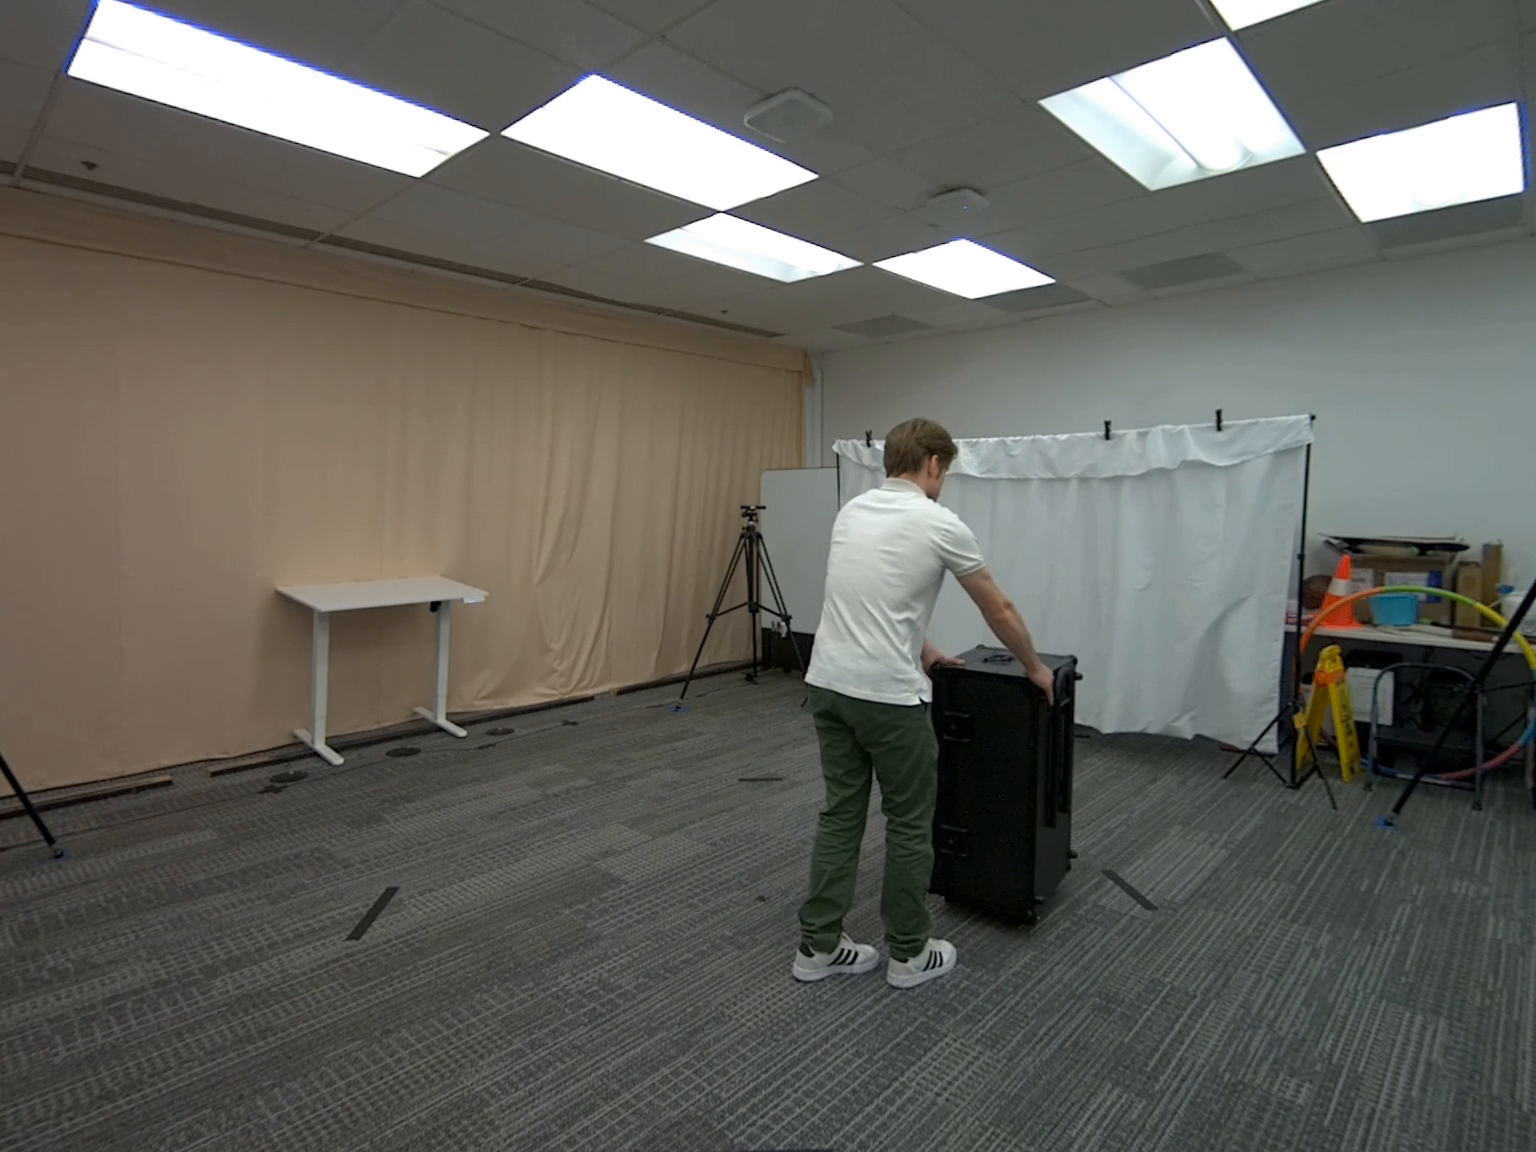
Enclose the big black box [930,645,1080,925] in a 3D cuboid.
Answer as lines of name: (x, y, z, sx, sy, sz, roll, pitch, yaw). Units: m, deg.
big black box: (0.840, 0.720, 2.949, 0.397, 0.866, 0.509, 3, 5, 34)
